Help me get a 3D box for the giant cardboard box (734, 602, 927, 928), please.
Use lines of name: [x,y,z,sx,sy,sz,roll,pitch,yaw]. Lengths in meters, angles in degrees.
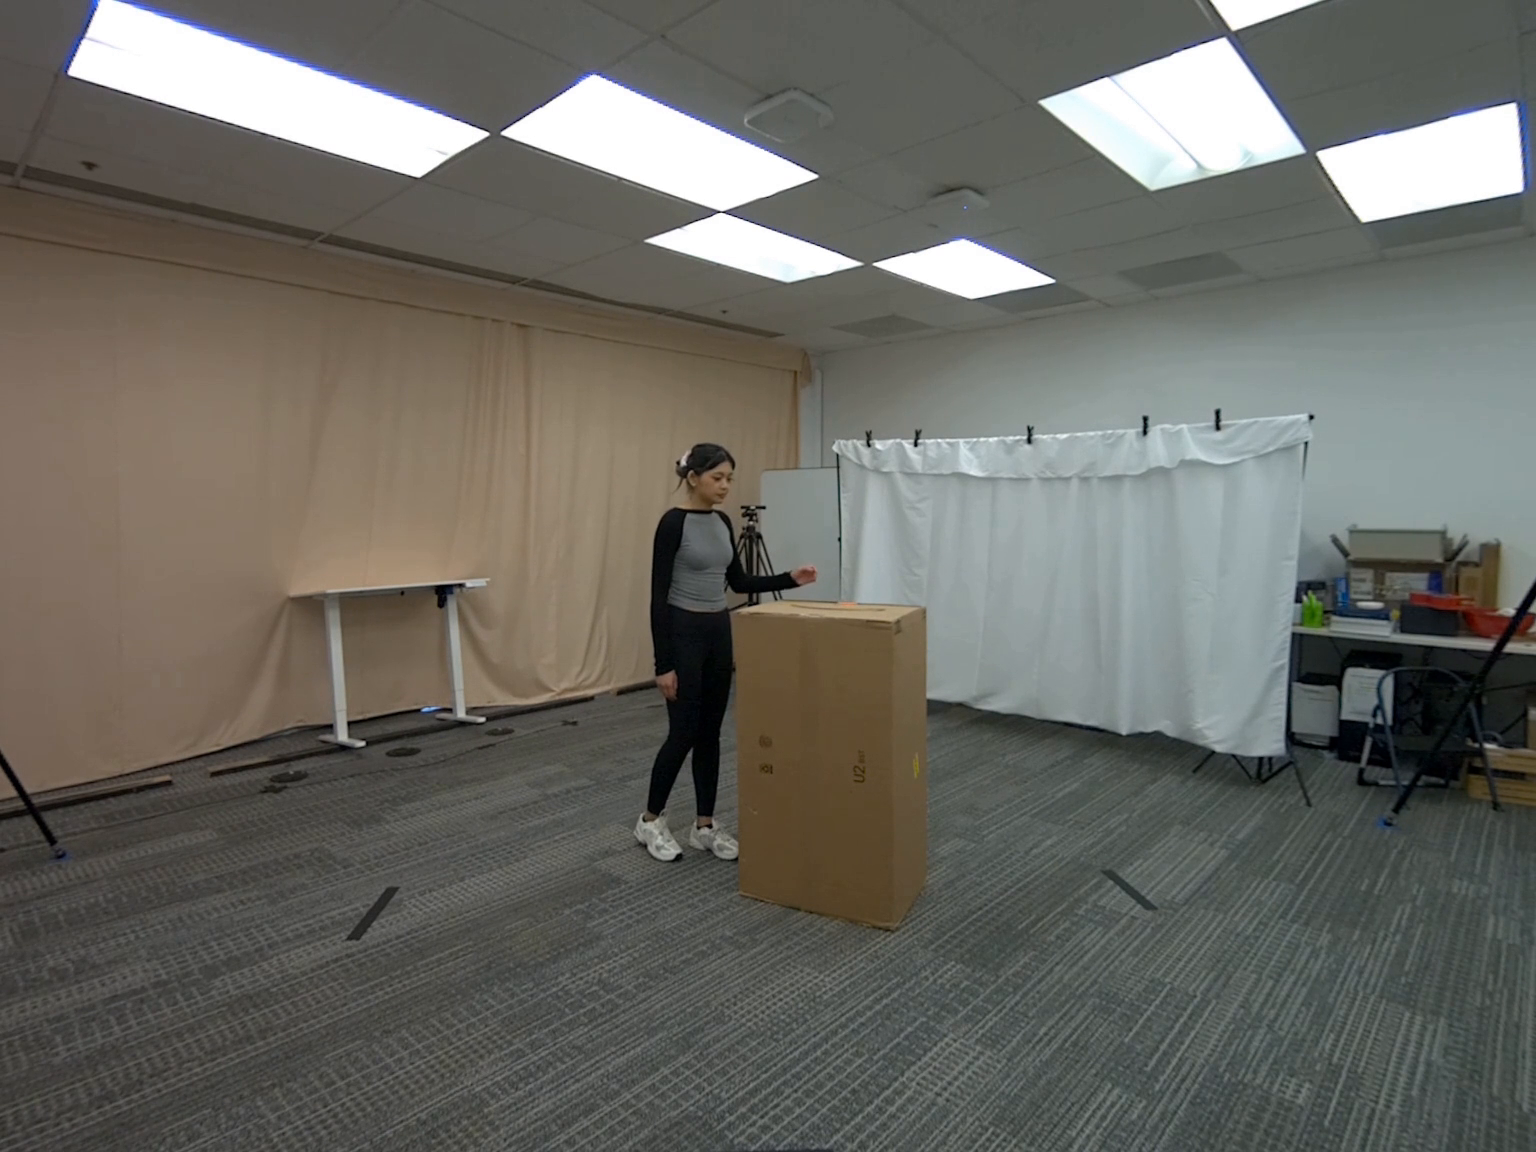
giant cardboard box: [0.242,0.631,3.041,0.599,1.024,0.436,1,4,26]
